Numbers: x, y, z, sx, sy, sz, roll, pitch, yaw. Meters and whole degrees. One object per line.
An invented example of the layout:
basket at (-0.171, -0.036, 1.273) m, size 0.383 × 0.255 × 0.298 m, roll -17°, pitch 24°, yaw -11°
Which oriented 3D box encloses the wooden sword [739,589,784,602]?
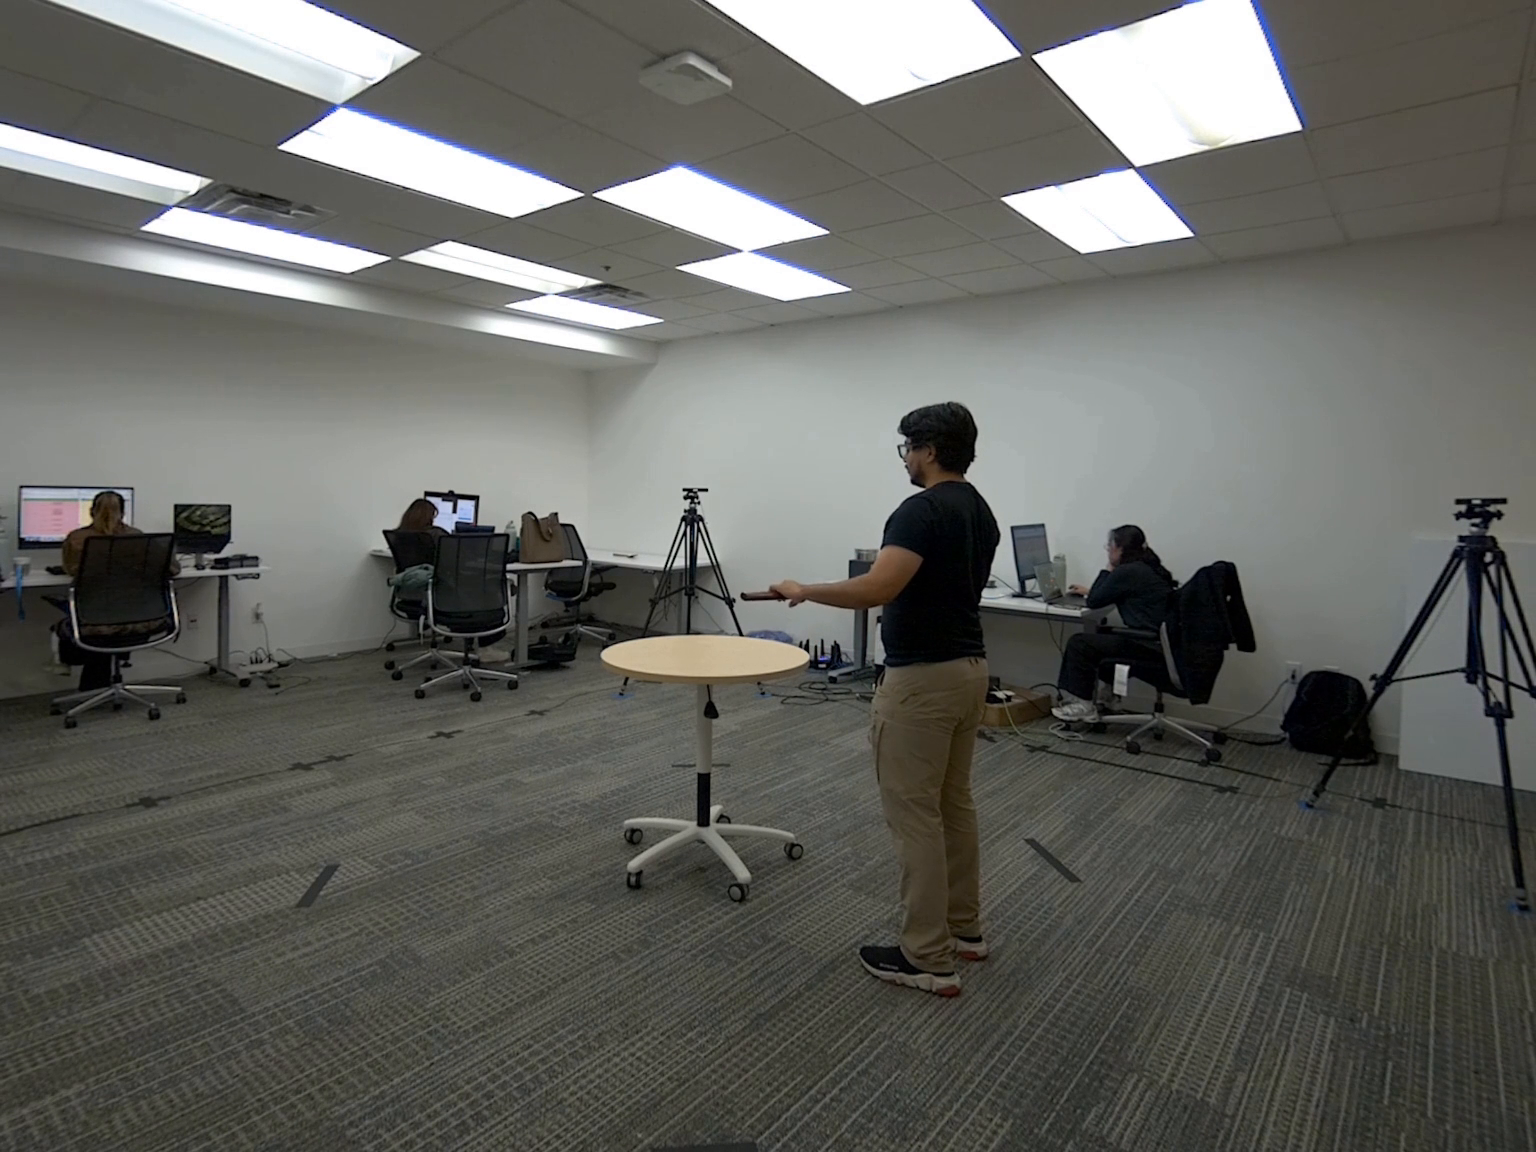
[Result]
wooden sword at (0.255, 0.042, 2.797) m, size 0.993 × 0.051 × 0.025 m, roll -1°, pitch 23°, yaw -40°
